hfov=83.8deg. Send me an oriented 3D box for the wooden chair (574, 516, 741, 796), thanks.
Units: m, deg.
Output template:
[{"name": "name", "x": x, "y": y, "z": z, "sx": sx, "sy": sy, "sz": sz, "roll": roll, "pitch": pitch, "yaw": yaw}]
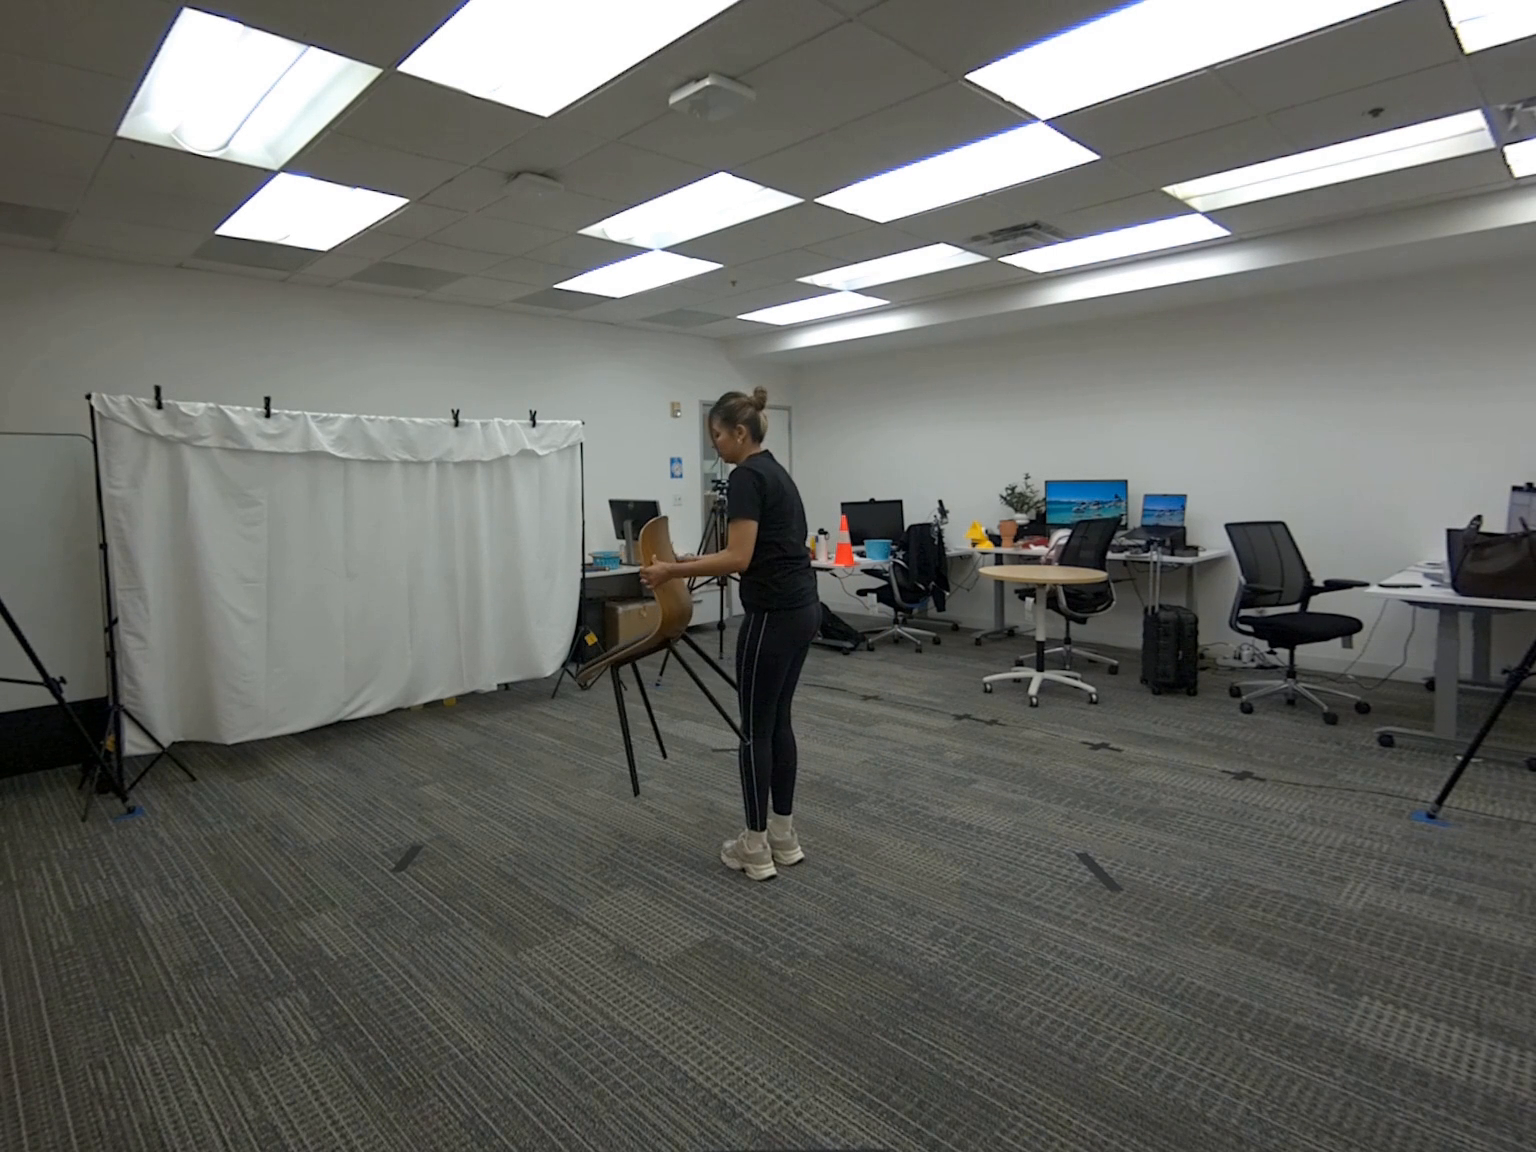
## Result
[{"name": "wooden chair", "x": -0.444, "y": 0.283, "z": 3.188, "sx": 0.526, "sy": 0.877, "sz": 0.475, "roll": -23, "pitch": 0, "yaw": 10}]
